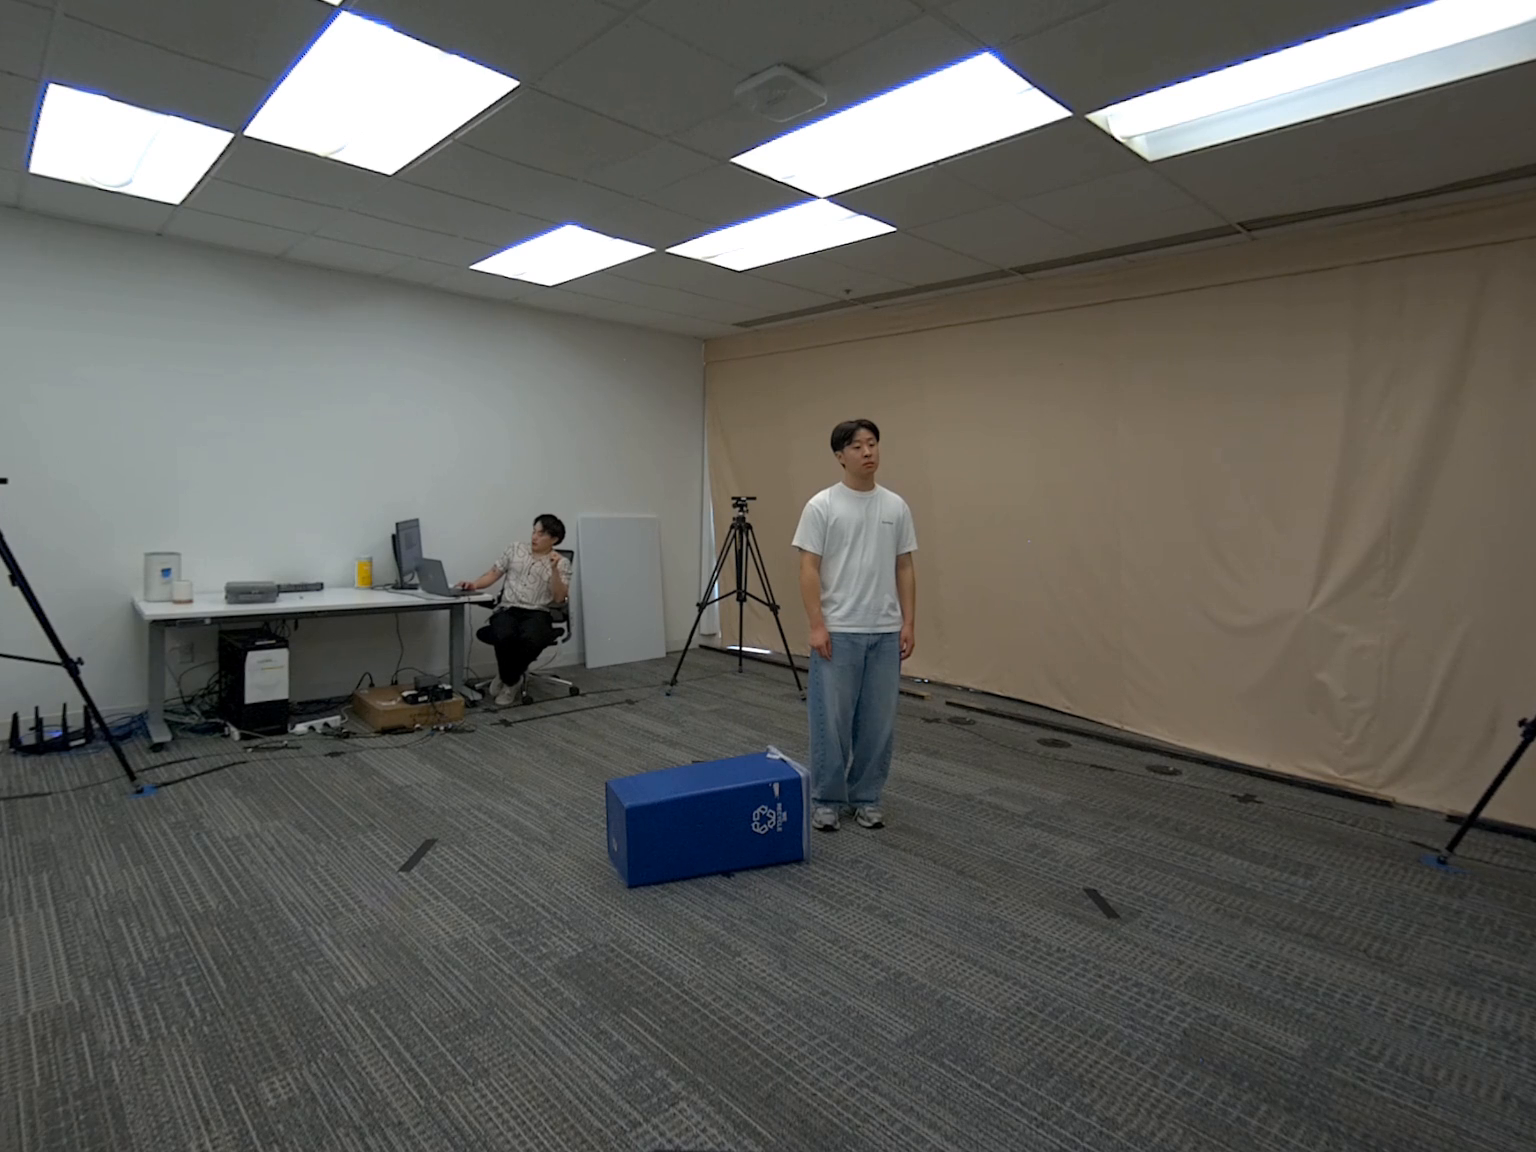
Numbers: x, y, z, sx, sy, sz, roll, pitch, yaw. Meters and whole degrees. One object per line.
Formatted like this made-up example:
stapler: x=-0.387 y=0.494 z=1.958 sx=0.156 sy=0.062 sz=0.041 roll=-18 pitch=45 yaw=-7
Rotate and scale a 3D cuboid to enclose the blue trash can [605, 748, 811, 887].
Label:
blue trash can: x=-0.242 y=0.928 z=3.227 sx=0.702 sy=0.377 sz=0.381 roll=-3 pitch=6 yaw=-23
